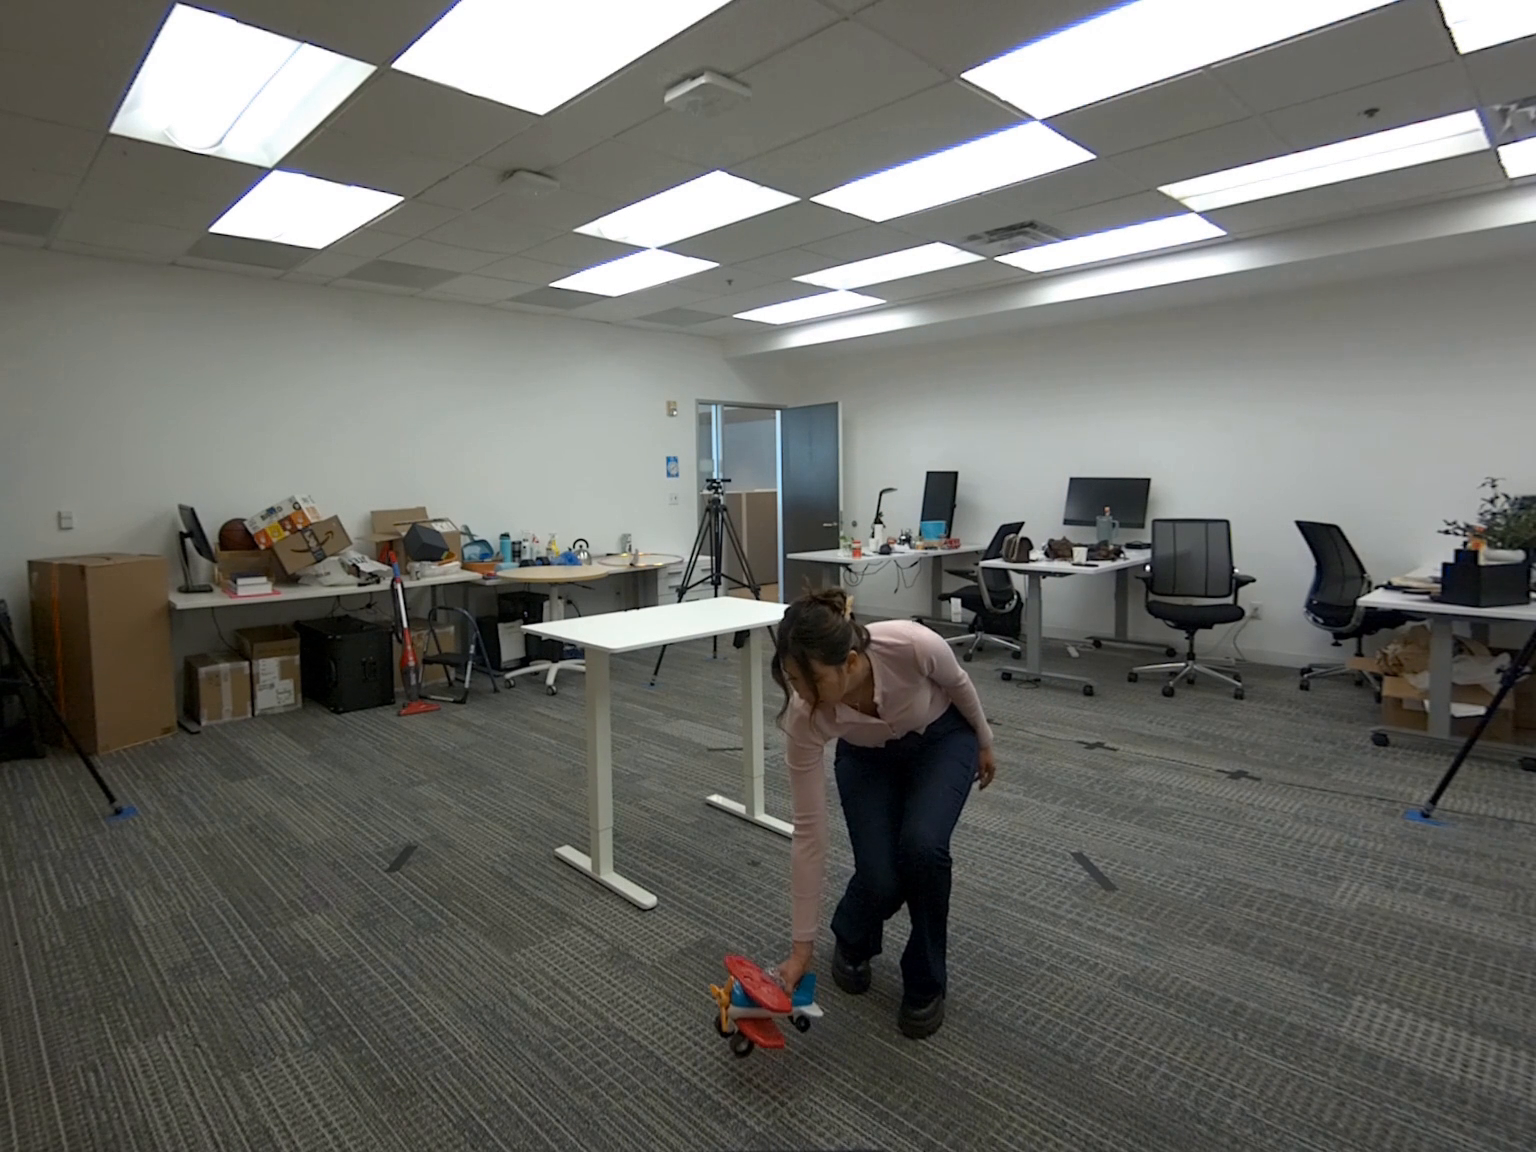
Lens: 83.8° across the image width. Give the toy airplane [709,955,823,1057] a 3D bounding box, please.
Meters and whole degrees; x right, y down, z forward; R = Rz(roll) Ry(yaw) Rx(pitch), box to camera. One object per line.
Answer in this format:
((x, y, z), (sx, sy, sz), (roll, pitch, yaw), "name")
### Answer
((-0.001, 1.015, 2.022), (0.258, 0.156, 0.252), (2, 4, 35), "toy airplane")
